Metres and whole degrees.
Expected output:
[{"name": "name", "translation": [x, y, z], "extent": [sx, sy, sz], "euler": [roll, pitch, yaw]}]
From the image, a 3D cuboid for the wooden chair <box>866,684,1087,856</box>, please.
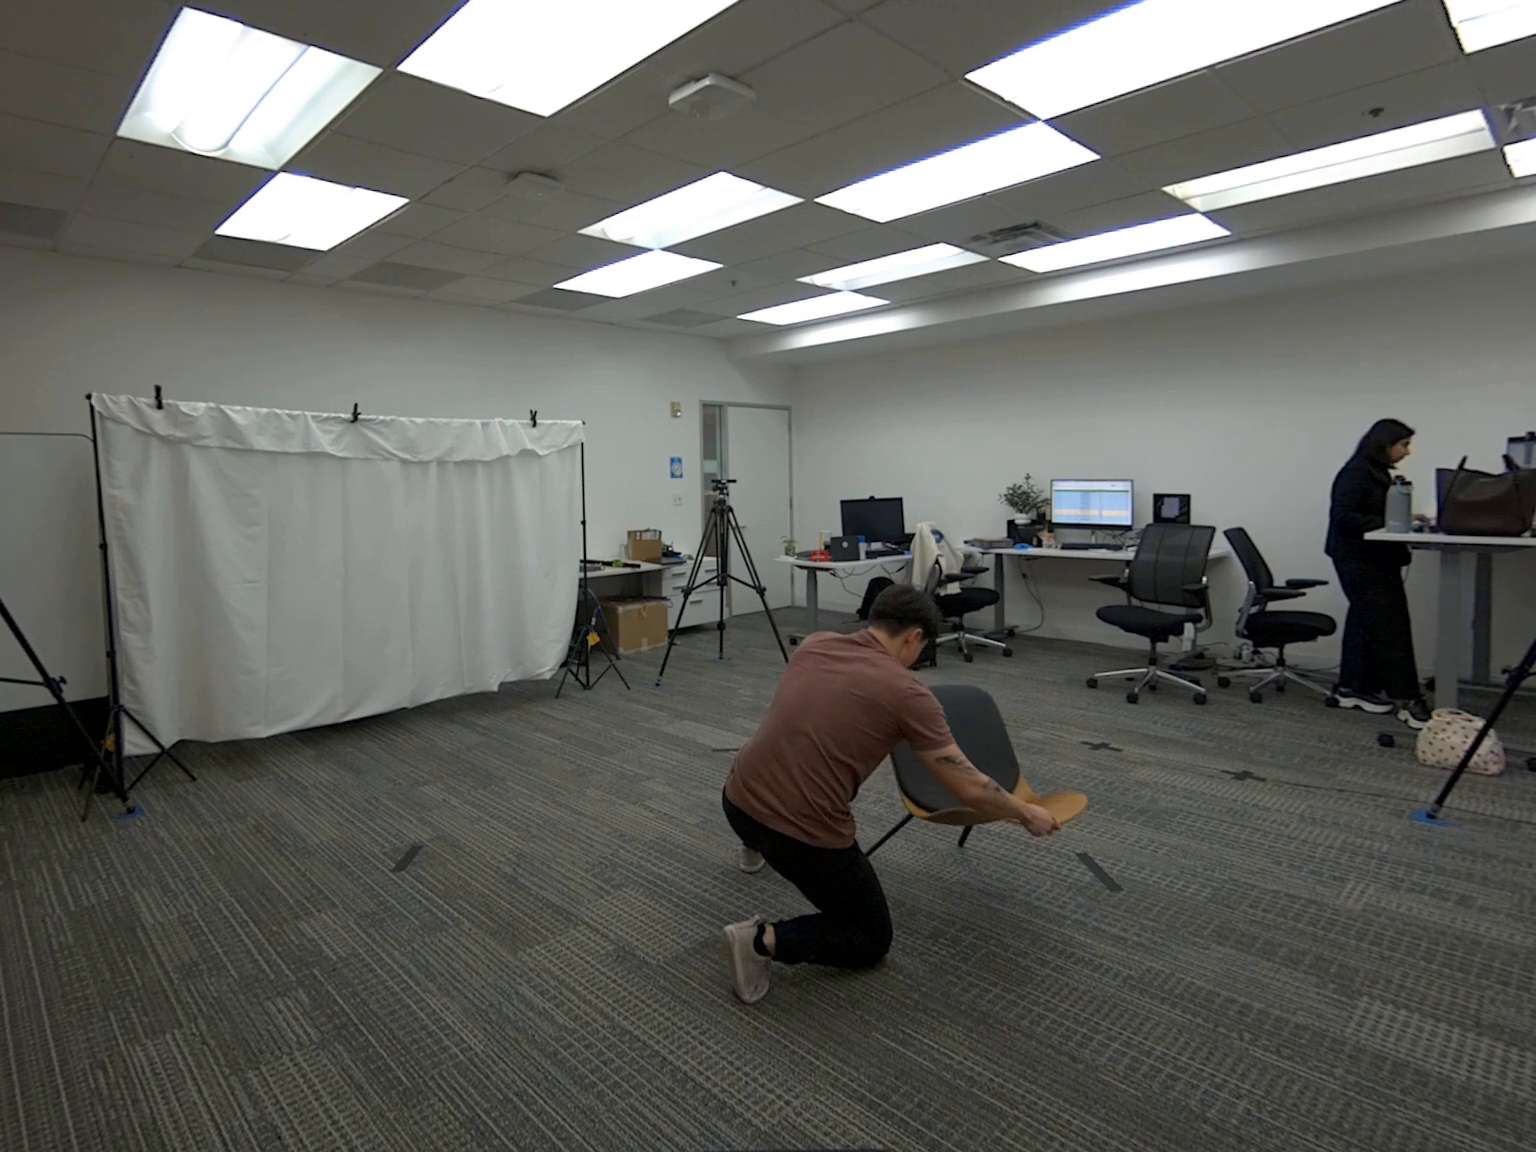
[{"name": "wooden chair", "translation": [0.606, 0.638, 2.908], "extent": [0.469, 0.535, 0.874], "euler": [-2, -22, -21]}]
